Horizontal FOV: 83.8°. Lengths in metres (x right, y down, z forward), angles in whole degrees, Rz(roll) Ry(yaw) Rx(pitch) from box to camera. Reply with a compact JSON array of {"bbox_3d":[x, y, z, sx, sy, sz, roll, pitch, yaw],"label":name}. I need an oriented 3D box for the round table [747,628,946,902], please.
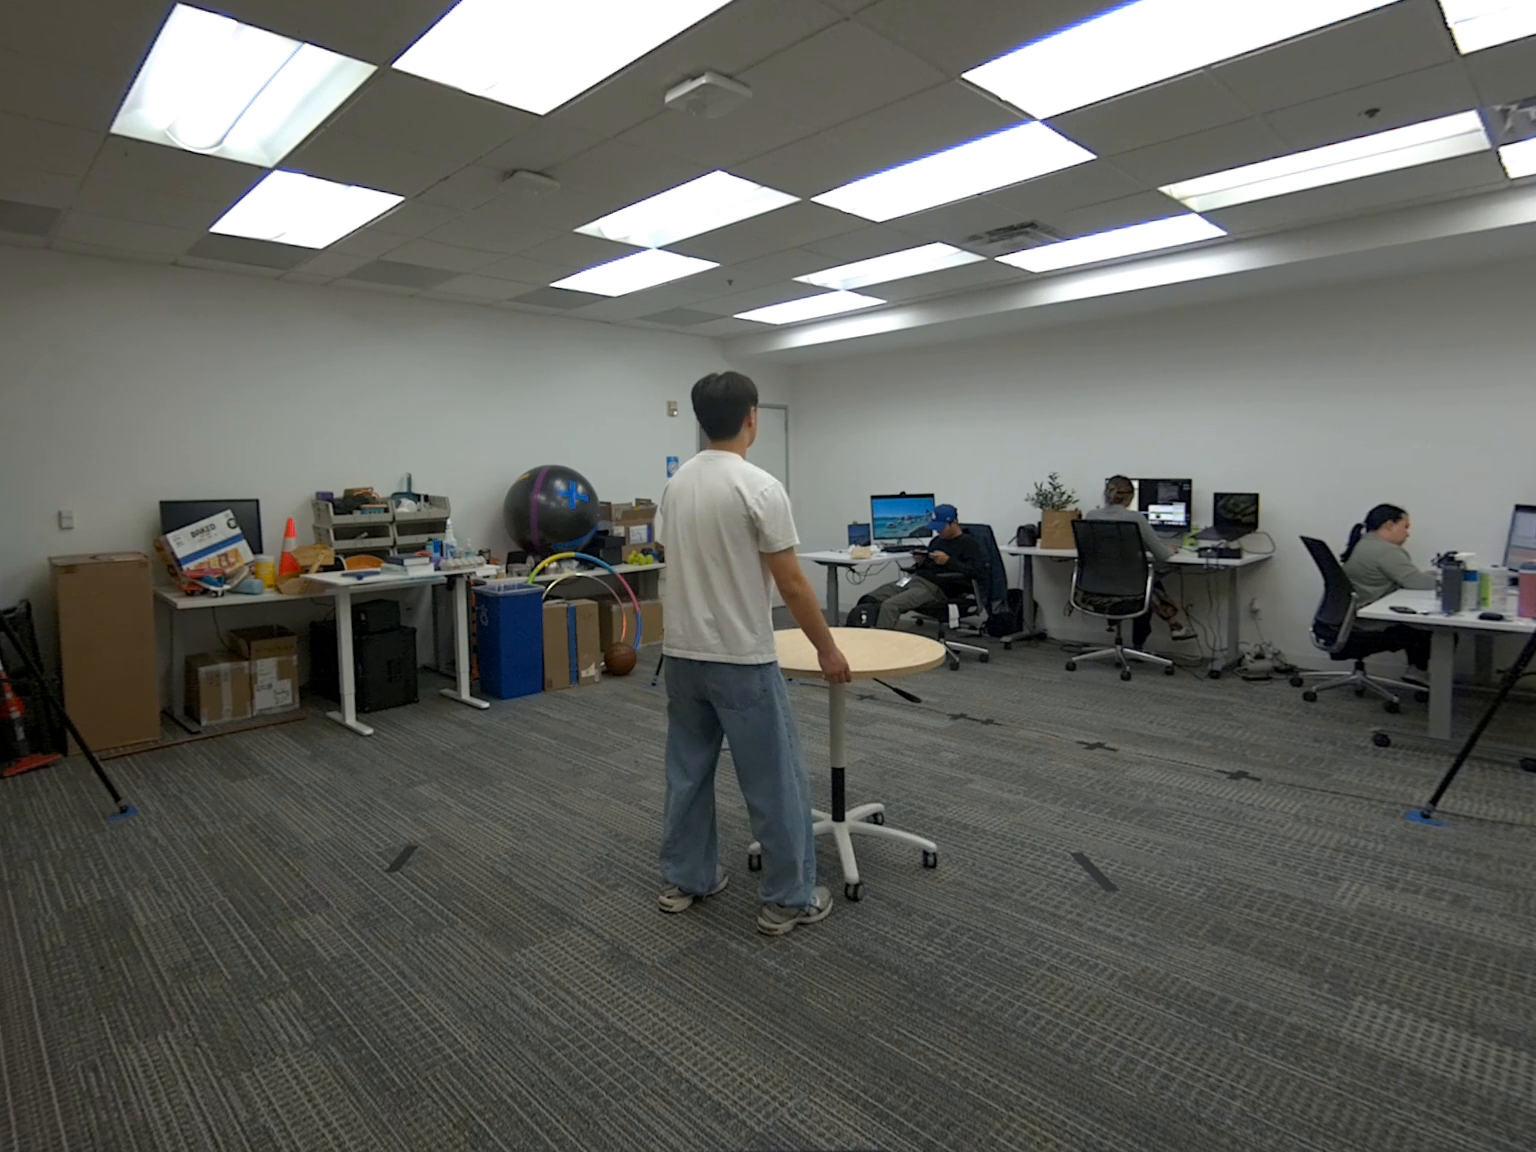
[{"bbox_3d":[0.253,0.649,3.127,0.763,0.791,0.768,-1,5,-2],"label":"round table"}]
